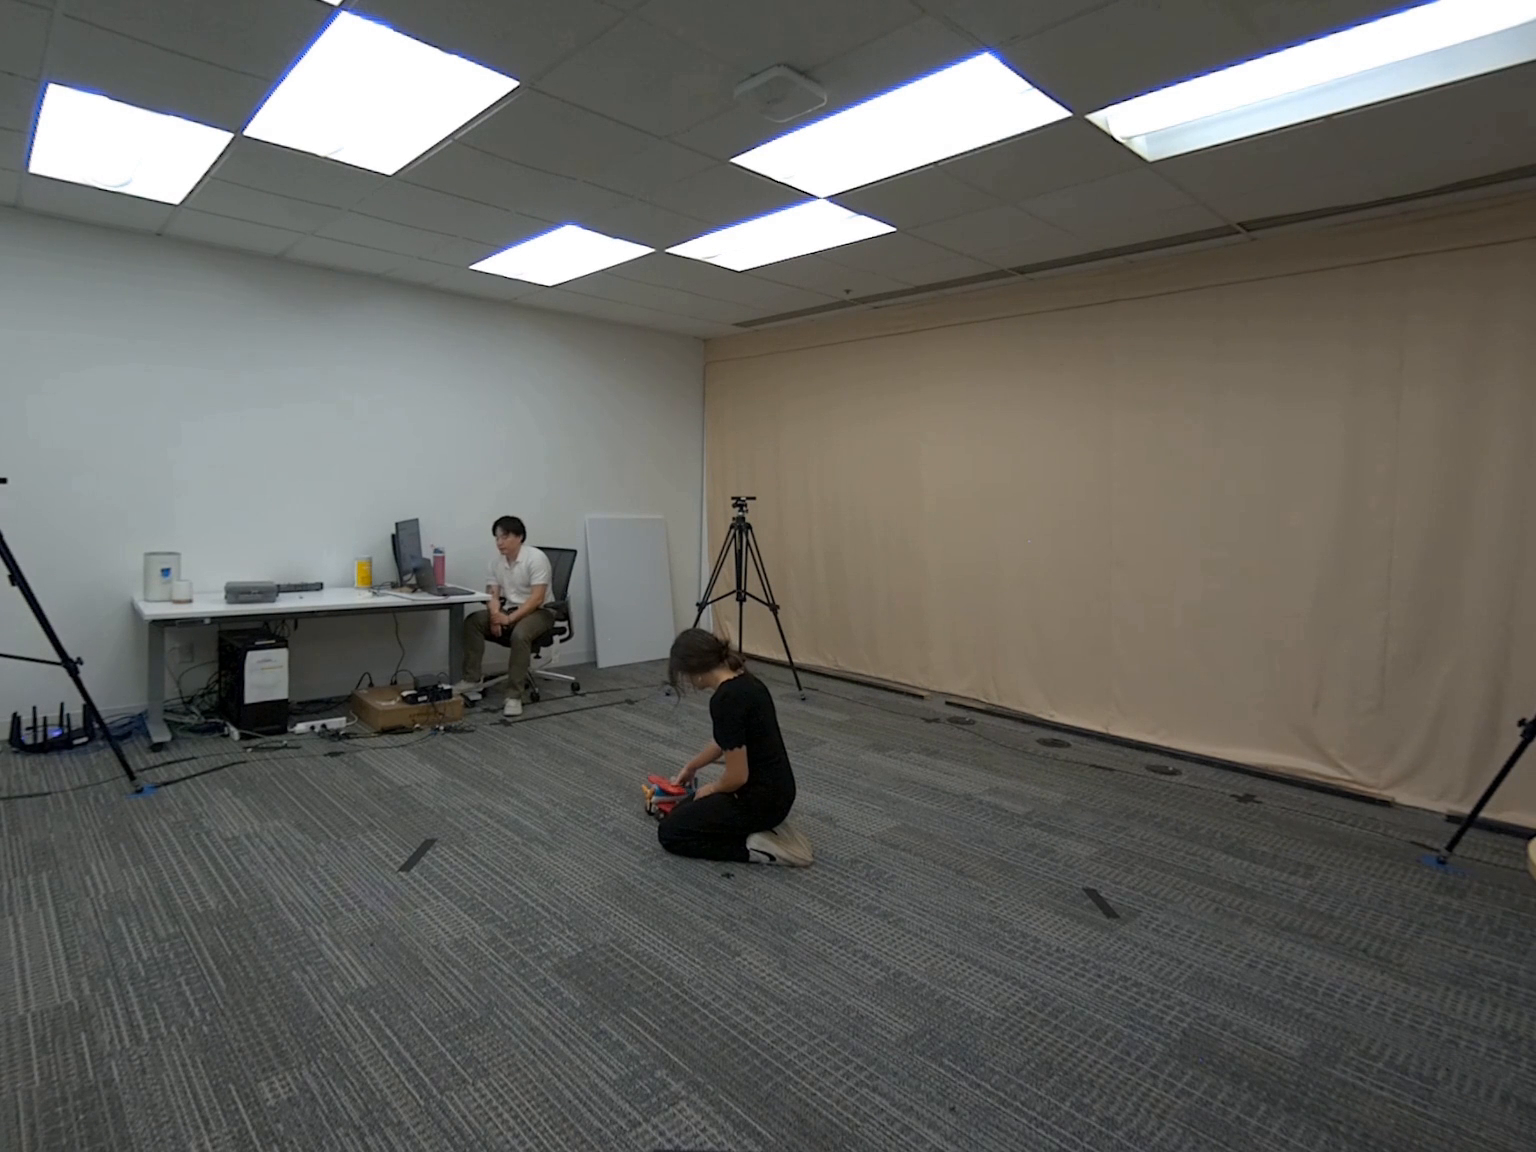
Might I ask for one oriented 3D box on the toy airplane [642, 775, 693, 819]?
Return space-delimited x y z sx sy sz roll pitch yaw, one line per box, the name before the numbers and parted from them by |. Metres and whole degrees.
toy airplane | -0.446 0.967 3.706 0.256 0.155 0.256 0 9 28
